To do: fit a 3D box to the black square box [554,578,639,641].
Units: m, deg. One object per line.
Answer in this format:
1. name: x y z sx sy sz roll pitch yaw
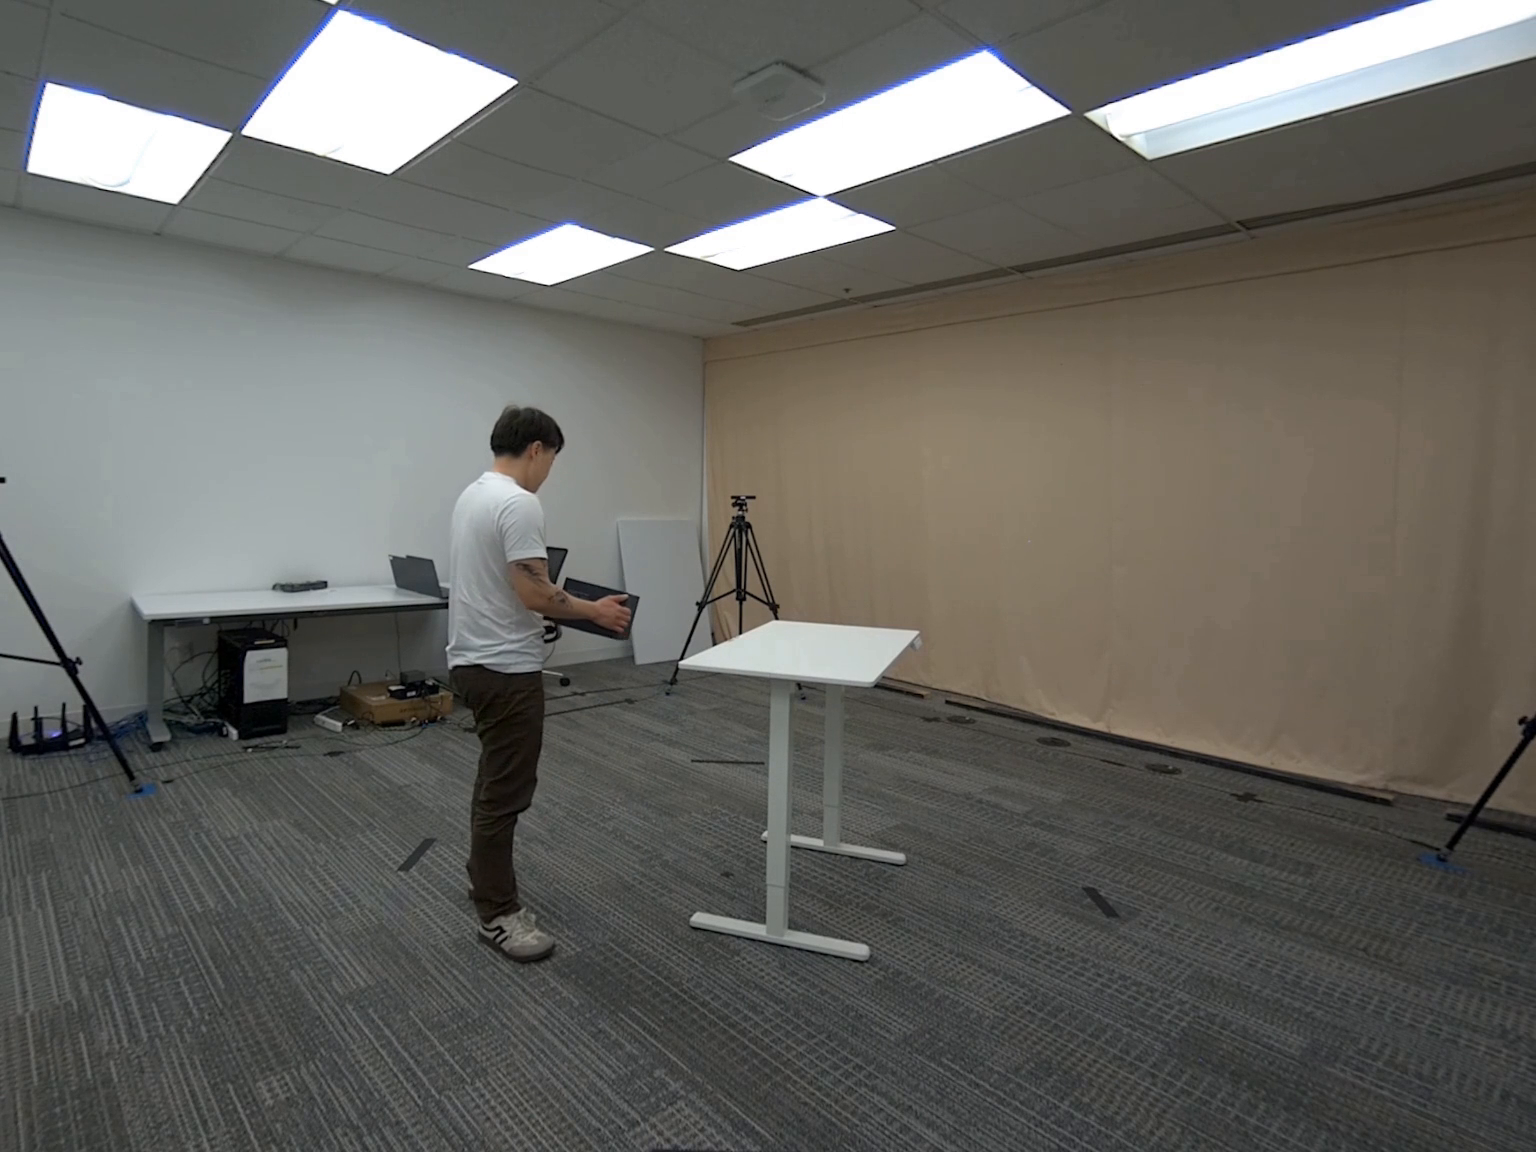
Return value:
1. black square box: -0.583 0.112 2.822 0.218 0.156 0.226 14 -5 5
